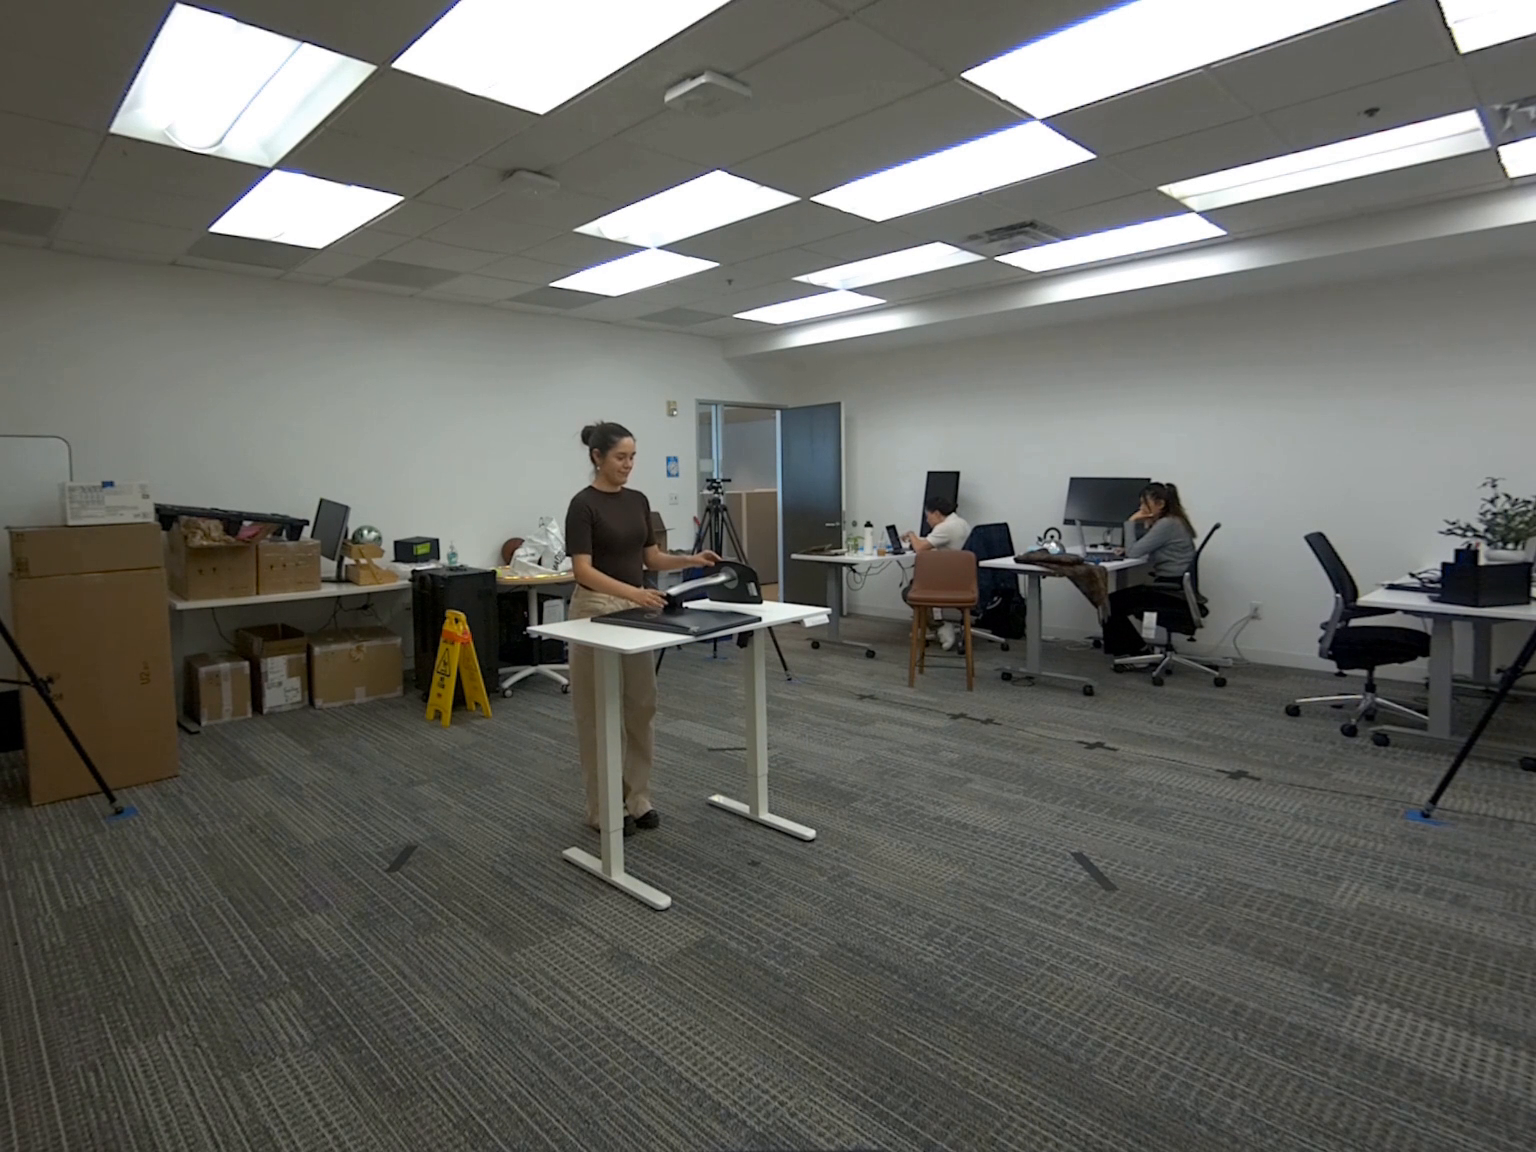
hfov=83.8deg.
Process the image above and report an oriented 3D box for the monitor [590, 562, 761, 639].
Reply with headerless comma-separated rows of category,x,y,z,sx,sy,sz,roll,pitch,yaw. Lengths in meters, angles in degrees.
monitor,-0.279,0.106,3.162,0.555,0.184,0.515,1,19,41
